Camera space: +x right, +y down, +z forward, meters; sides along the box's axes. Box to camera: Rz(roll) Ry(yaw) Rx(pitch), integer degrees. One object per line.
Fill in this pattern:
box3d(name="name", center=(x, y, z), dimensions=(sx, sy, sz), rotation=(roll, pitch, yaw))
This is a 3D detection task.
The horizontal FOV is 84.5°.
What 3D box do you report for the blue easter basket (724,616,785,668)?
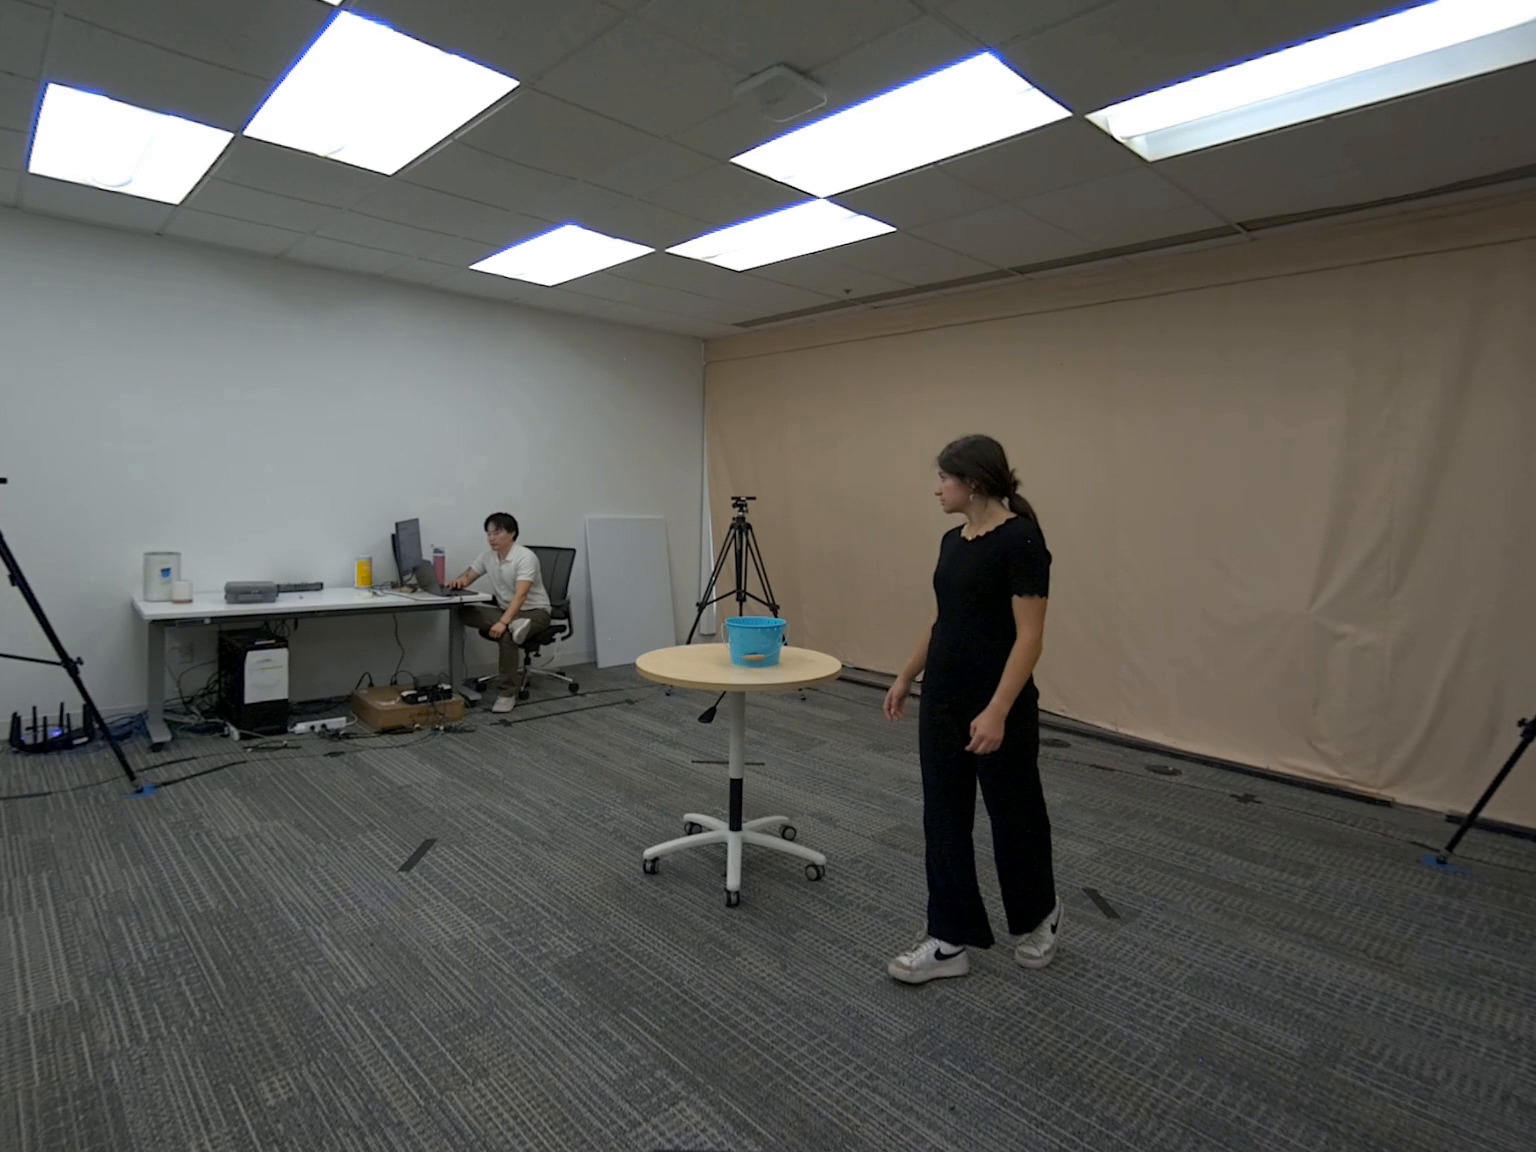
box3d(name="blue easter basket", center=(-0.061, 0.247, 3.137), dimensions=(0.243, 0.155, 0.244), rotation=(1, 5, -1))
